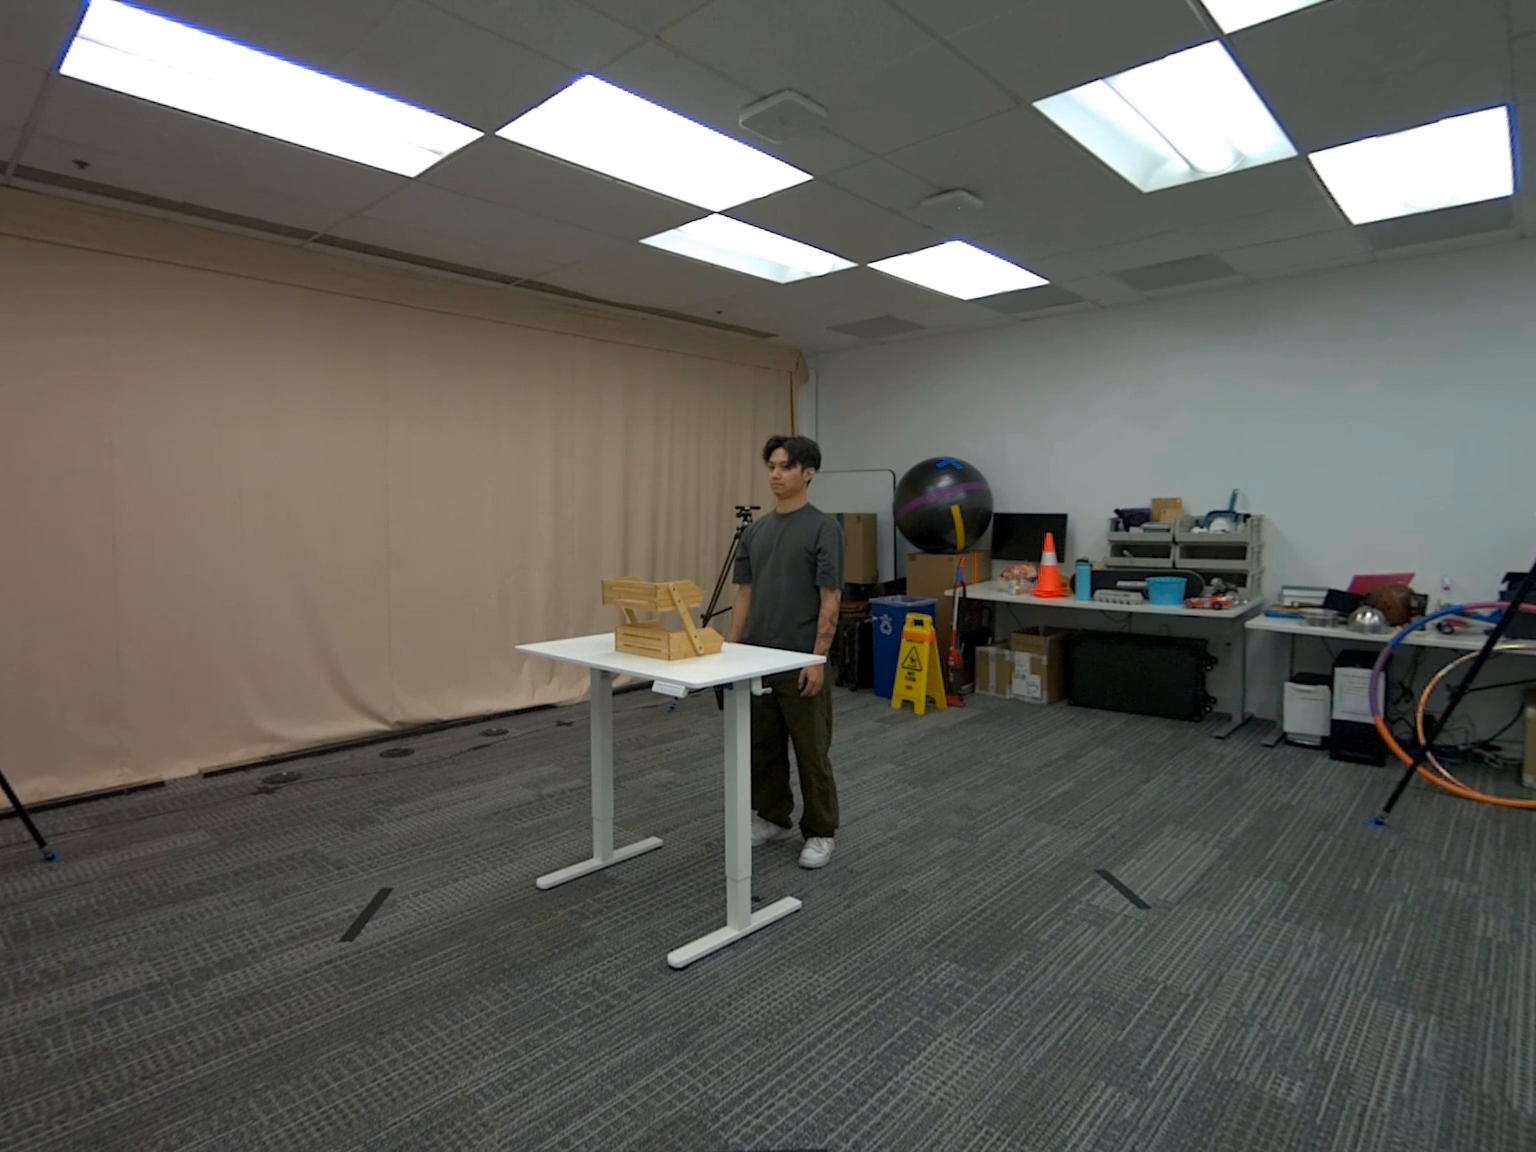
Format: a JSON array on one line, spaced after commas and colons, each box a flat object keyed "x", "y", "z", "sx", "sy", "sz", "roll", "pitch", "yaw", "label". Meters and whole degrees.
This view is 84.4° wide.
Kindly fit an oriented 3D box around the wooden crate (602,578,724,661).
[{"x": -0.365, "y": 0.137, "z": 2.946, "sx": 0.335, "sy": 0.273, "sz": 0.293, "roll": 2, "pitch": 5, "yaw": 44, "label": "wooden crate"}]
